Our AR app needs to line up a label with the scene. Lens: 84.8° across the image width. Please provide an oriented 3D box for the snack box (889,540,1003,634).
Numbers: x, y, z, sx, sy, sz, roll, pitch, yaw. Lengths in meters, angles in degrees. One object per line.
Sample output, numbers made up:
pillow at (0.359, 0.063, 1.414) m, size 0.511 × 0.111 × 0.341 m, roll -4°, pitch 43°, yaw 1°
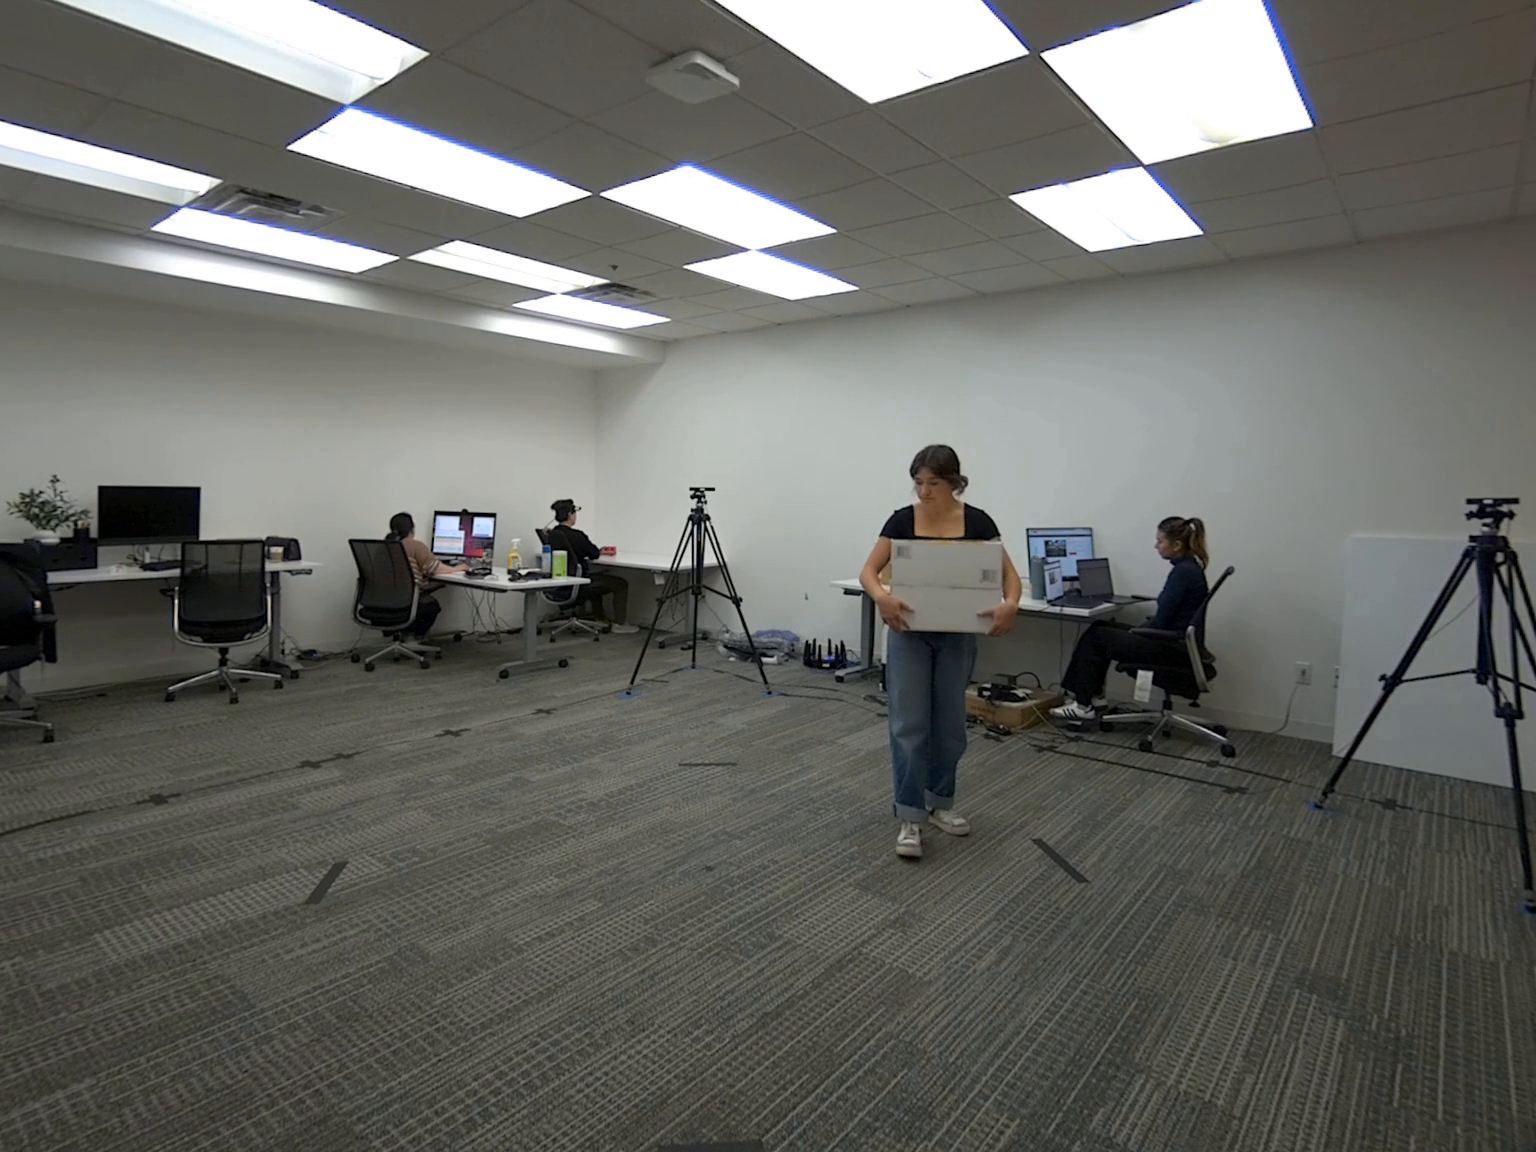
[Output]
snack box at (0.667, 0.026, 3.245) m, size 0.410 × 0.340 × 0.204 m, roll 1°, pitch 3°, yaw 10°
